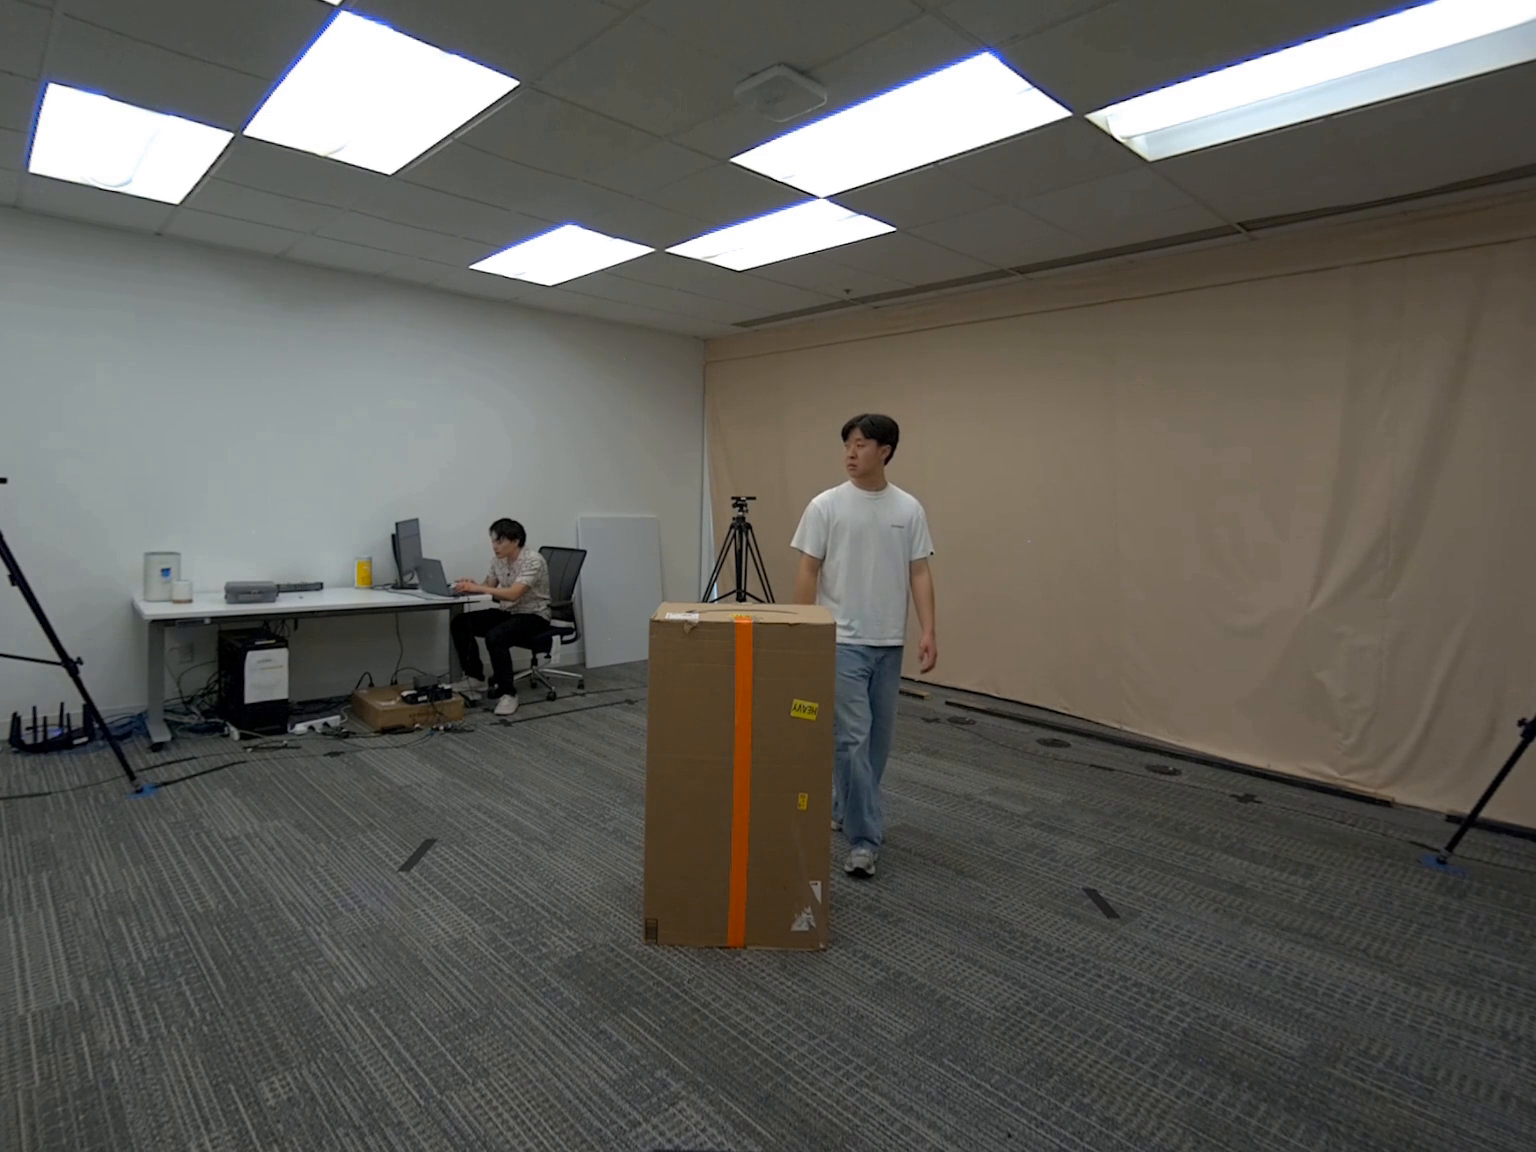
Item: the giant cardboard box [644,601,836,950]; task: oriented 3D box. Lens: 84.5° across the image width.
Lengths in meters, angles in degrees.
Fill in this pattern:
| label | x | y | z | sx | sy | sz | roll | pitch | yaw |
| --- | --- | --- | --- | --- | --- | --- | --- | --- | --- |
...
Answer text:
| label | x | y | z | sx | sy | sz | roll | pitch | yaw |
| --- | --- | --- | --- | --- | --- | --- | --- | --- | --- |
| giant cardboard box | -0.102 | 0.628 | 2.783 | 0.577 | 1.023 | 0.427 | 2 | 3 | 0 |
